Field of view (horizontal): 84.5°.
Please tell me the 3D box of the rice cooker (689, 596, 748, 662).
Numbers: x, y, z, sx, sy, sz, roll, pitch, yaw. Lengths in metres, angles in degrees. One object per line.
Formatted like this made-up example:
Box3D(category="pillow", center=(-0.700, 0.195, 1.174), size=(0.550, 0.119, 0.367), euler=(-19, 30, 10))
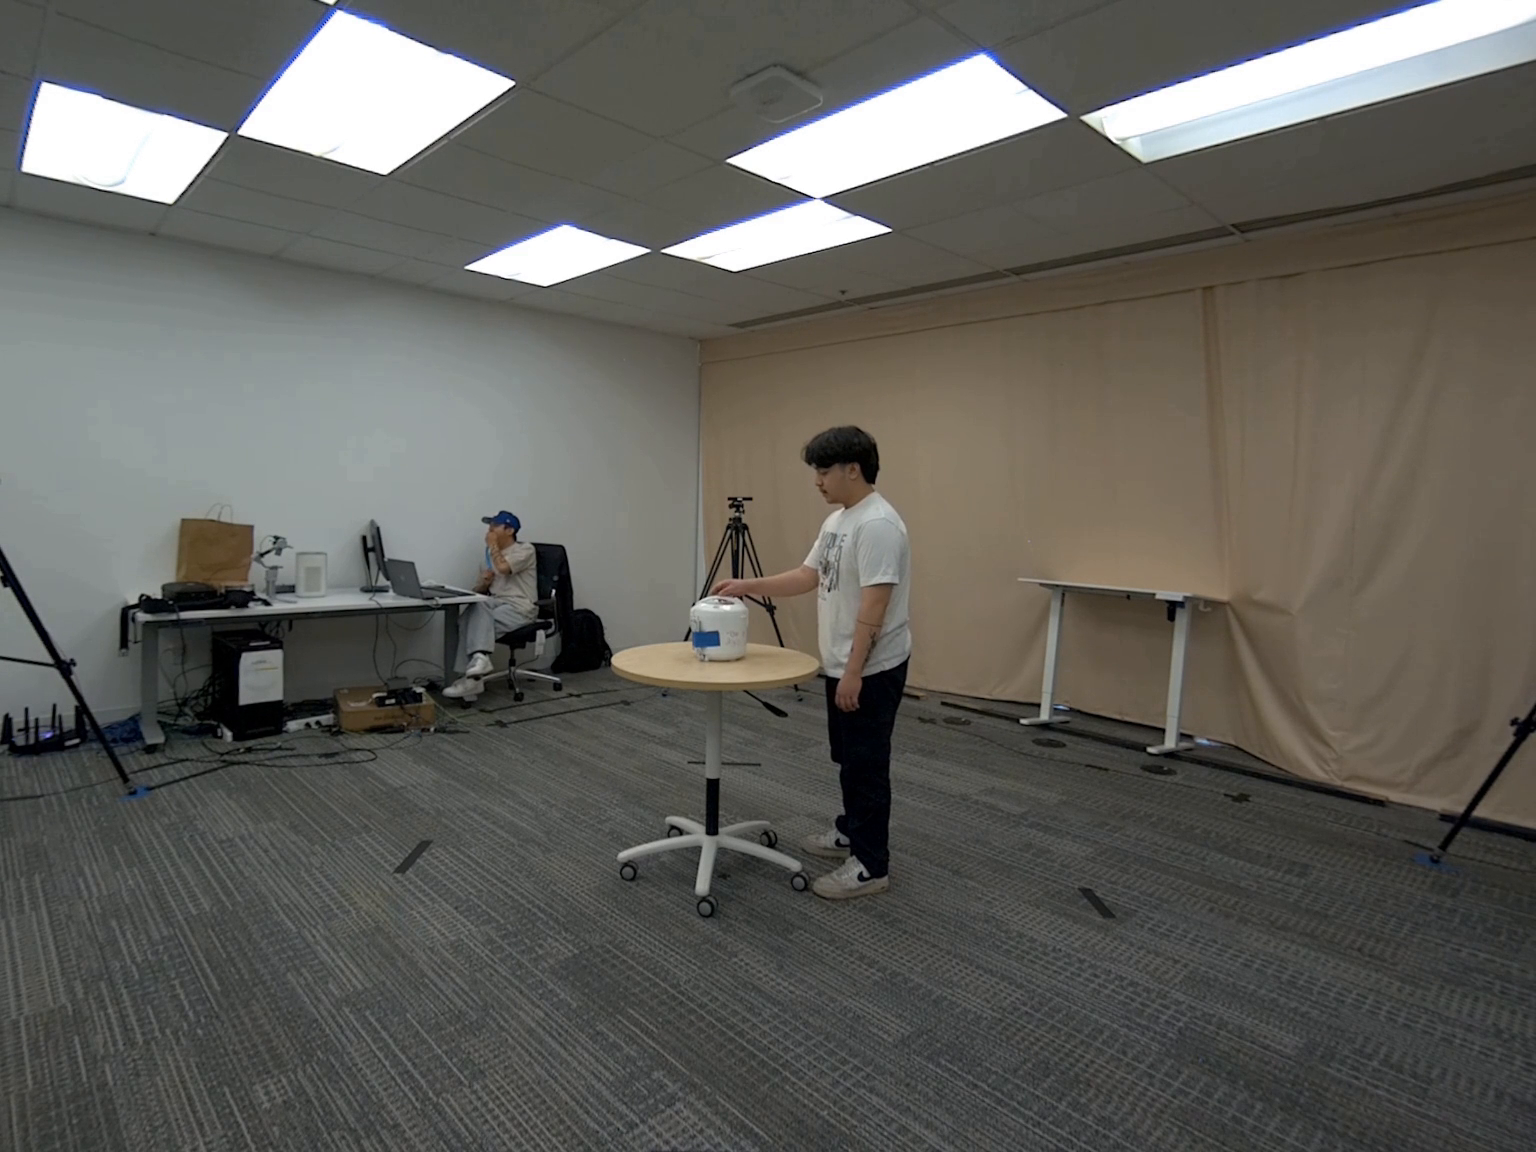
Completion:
Box3D(category="rice cooker", center=(-0.188, 0.185, 3.147), size=(0.220, 0.232, 0.219), euler=(2, 4, -5))
